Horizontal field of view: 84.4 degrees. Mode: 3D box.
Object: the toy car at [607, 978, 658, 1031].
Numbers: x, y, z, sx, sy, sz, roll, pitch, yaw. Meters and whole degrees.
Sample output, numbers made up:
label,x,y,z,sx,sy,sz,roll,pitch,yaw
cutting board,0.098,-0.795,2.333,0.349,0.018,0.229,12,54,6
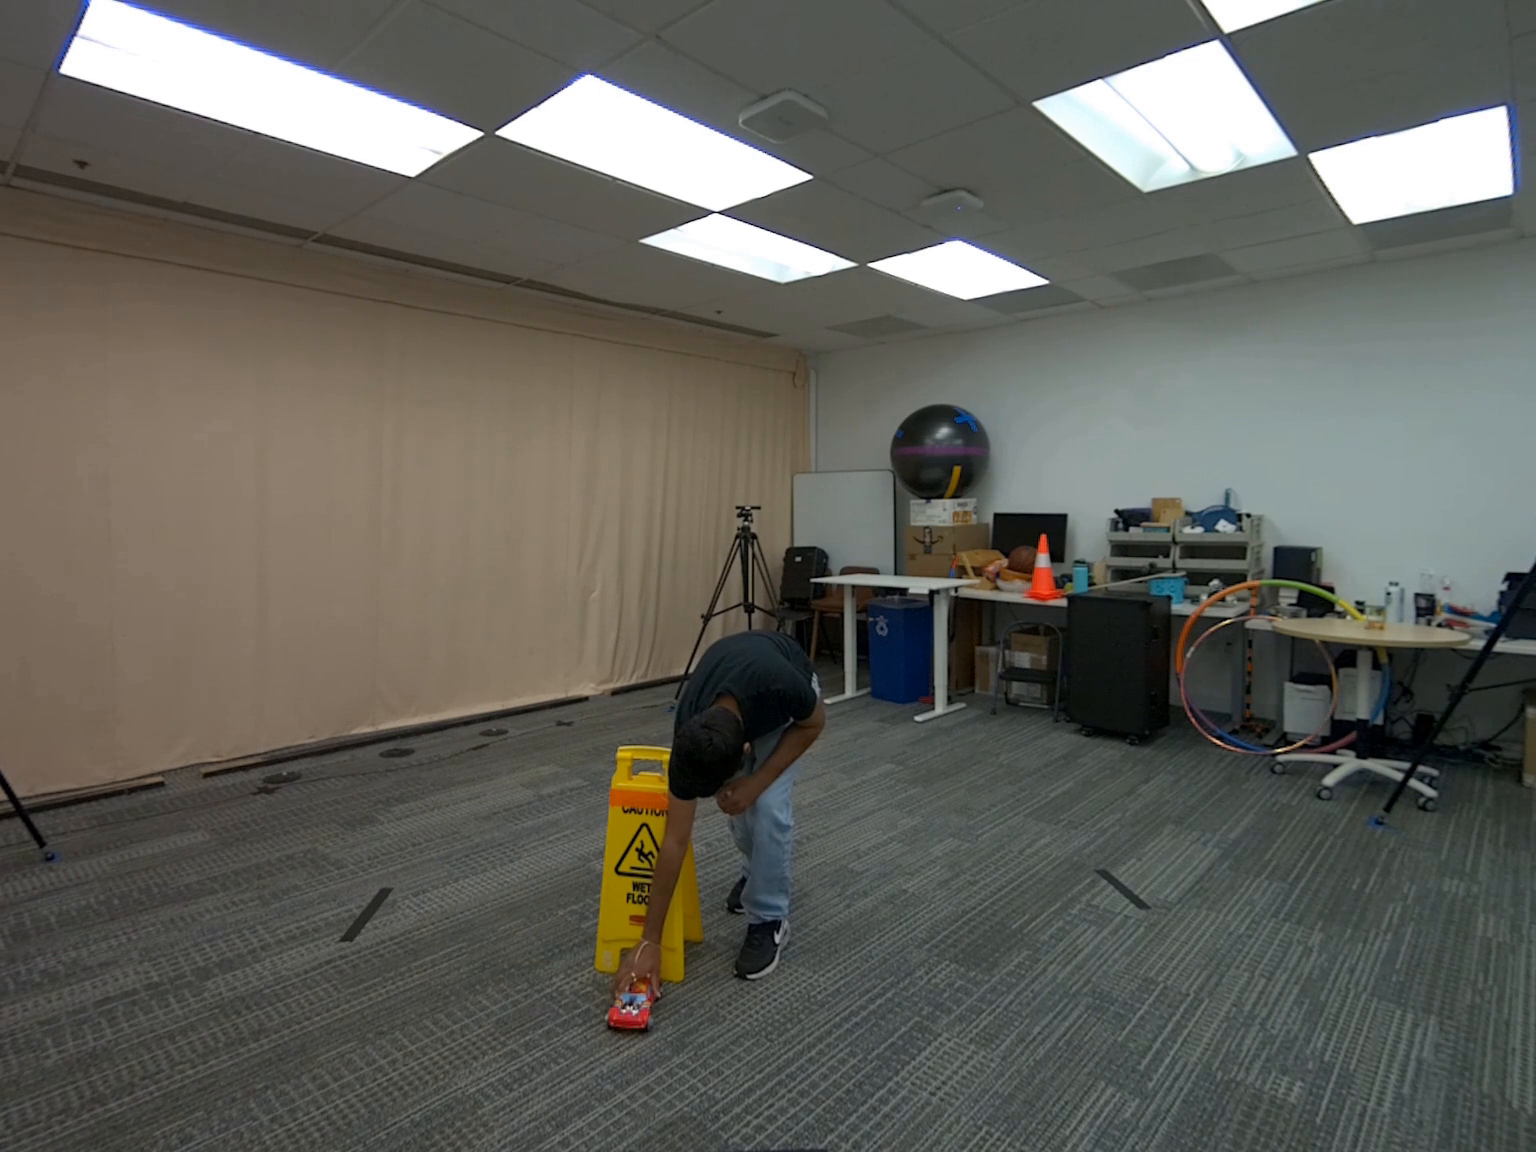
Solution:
label,x,y,z,sx,sy,sz,roll,pitch,yaw
toy car,-0.366,1.166,2.335,0.131,0.082,0.255,1,15,4
